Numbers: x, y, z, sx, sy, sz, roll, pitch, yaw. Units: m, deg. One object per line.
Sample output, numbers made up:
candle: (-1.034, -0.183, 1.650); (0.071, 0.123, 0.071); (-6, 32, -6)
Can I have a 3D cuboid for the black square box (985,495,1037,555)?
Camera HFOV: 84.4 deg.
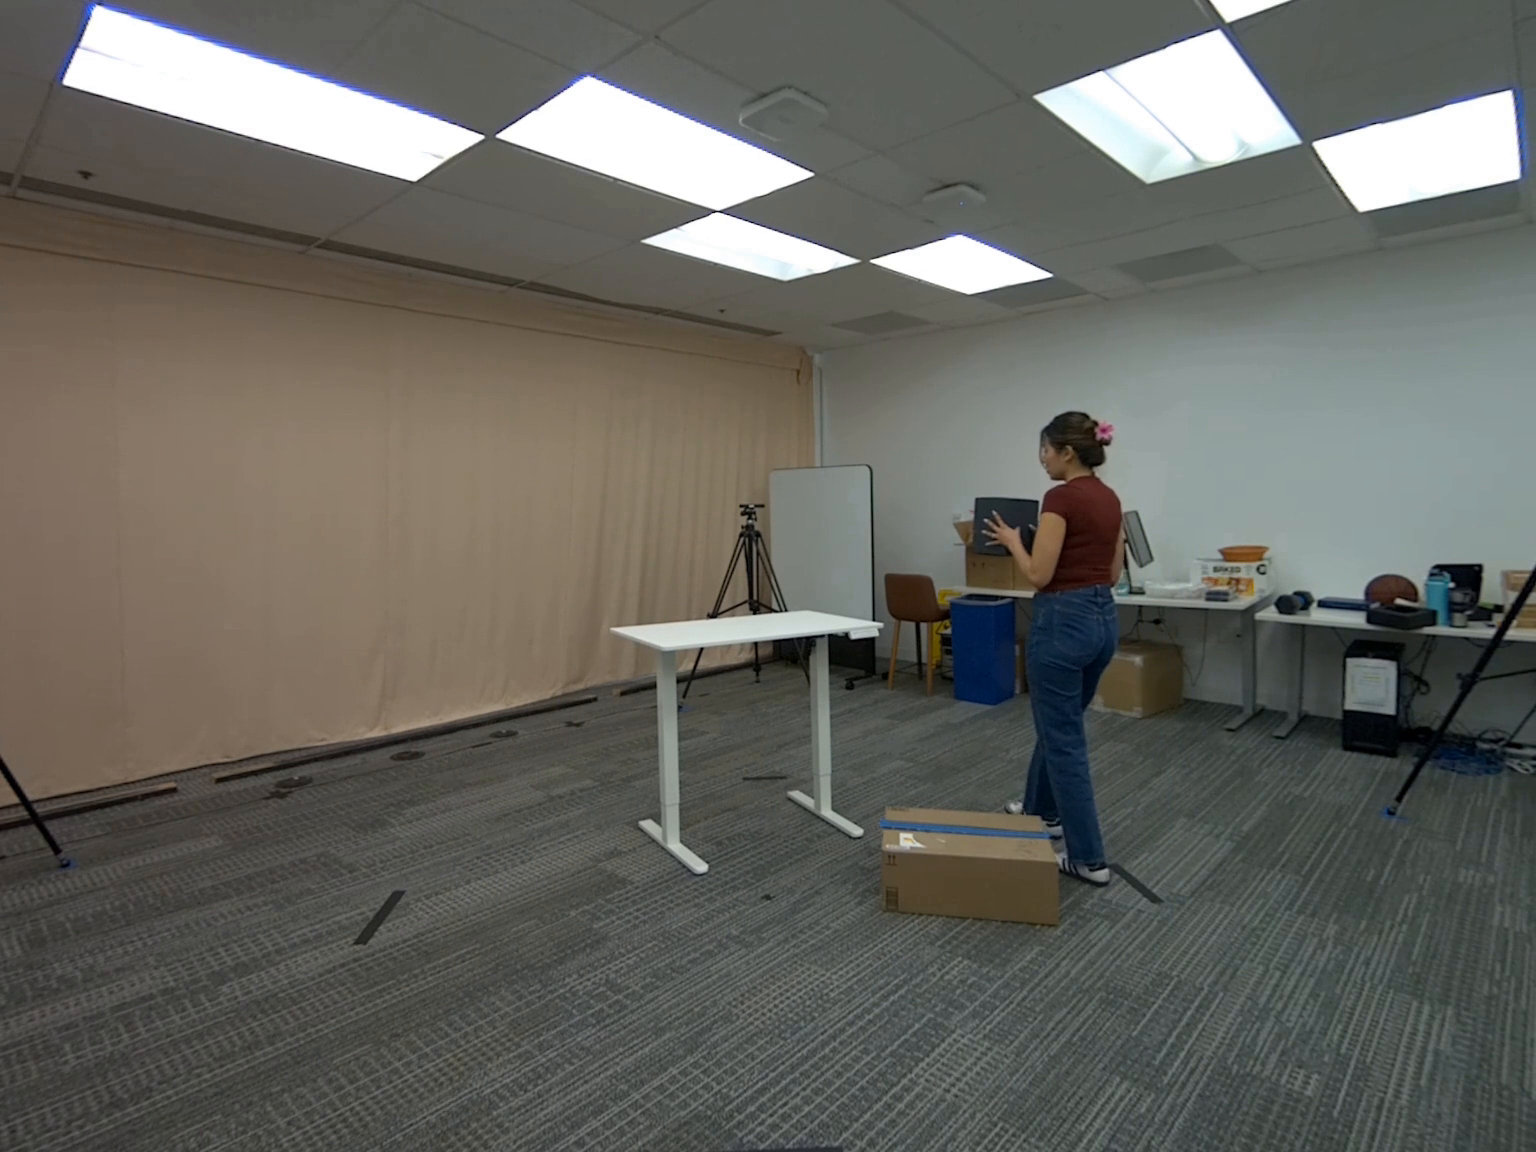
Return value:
black square box: (0.974, -0.204, 3.398); (0.160, 0.228, 0.211); (3, 2, 26)
